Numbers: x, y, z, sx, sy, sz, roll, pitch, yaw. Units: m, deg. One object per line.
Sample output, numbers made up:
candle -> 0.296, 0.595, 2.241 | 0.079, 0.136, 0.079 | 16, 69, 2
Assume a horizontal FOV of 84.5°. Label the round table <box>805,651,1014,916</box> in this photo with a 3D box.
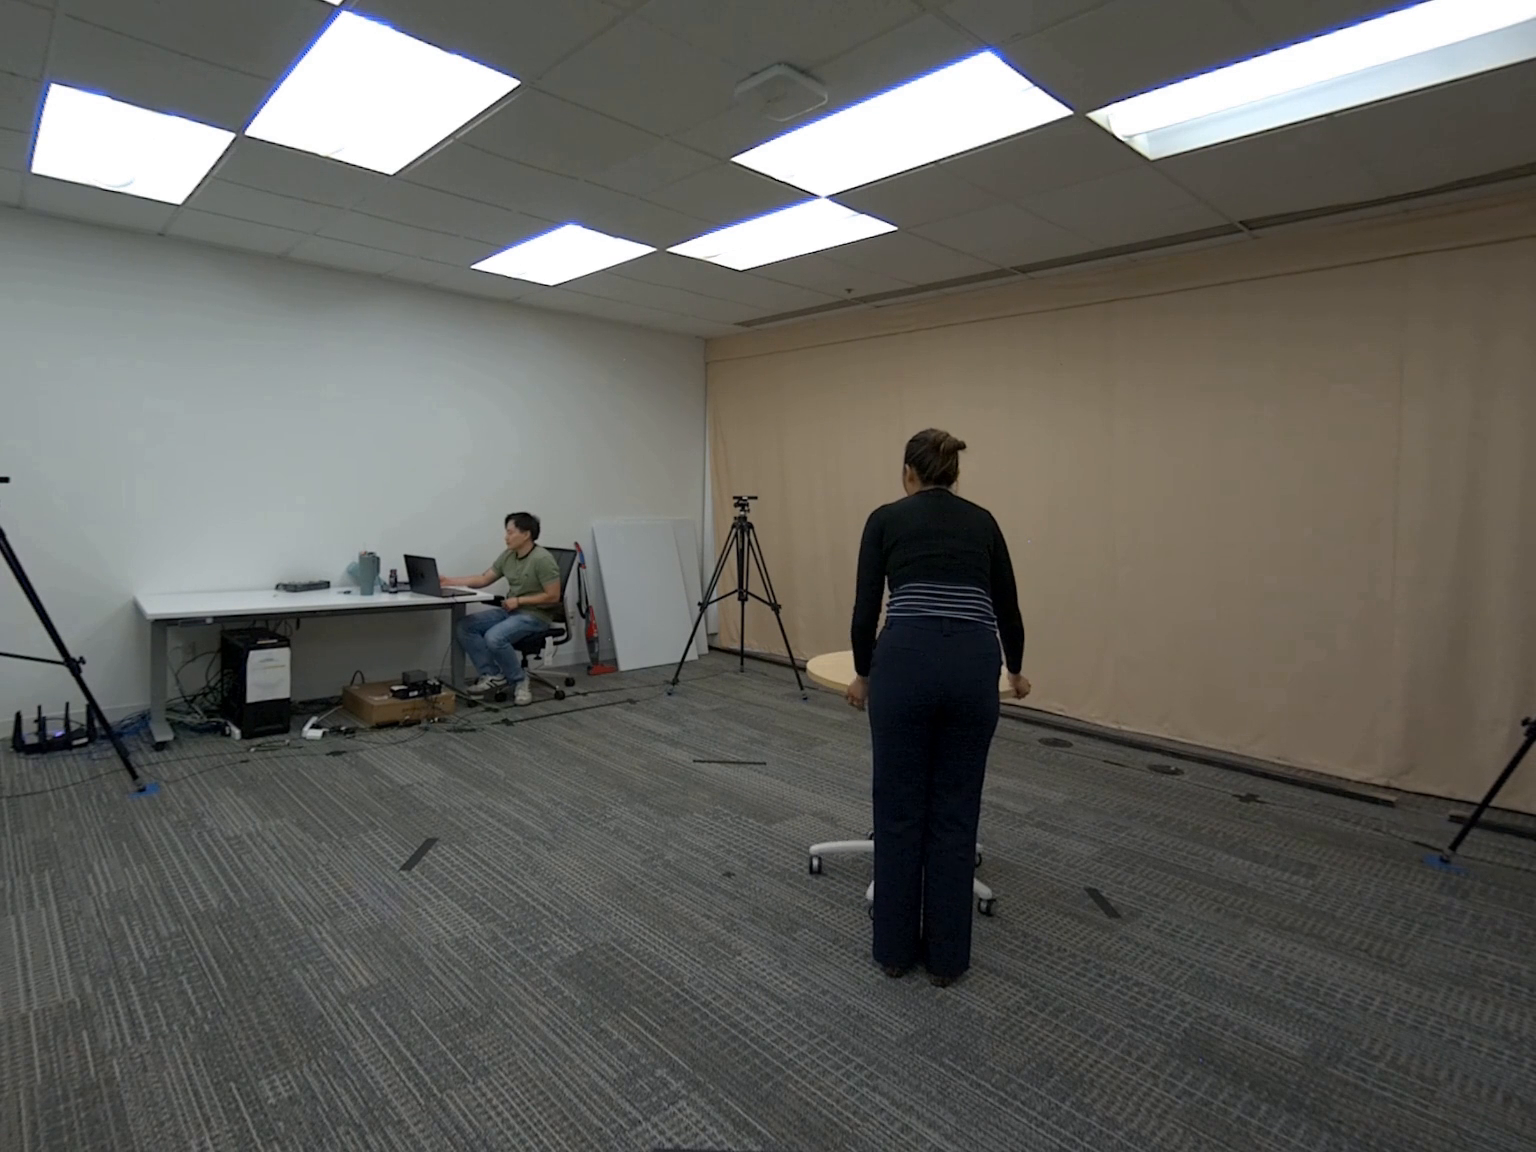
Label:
round table -> 0.511, 0.736, 3.069 | 0.763, 0.791, 0.767 | 2, 5, -2
